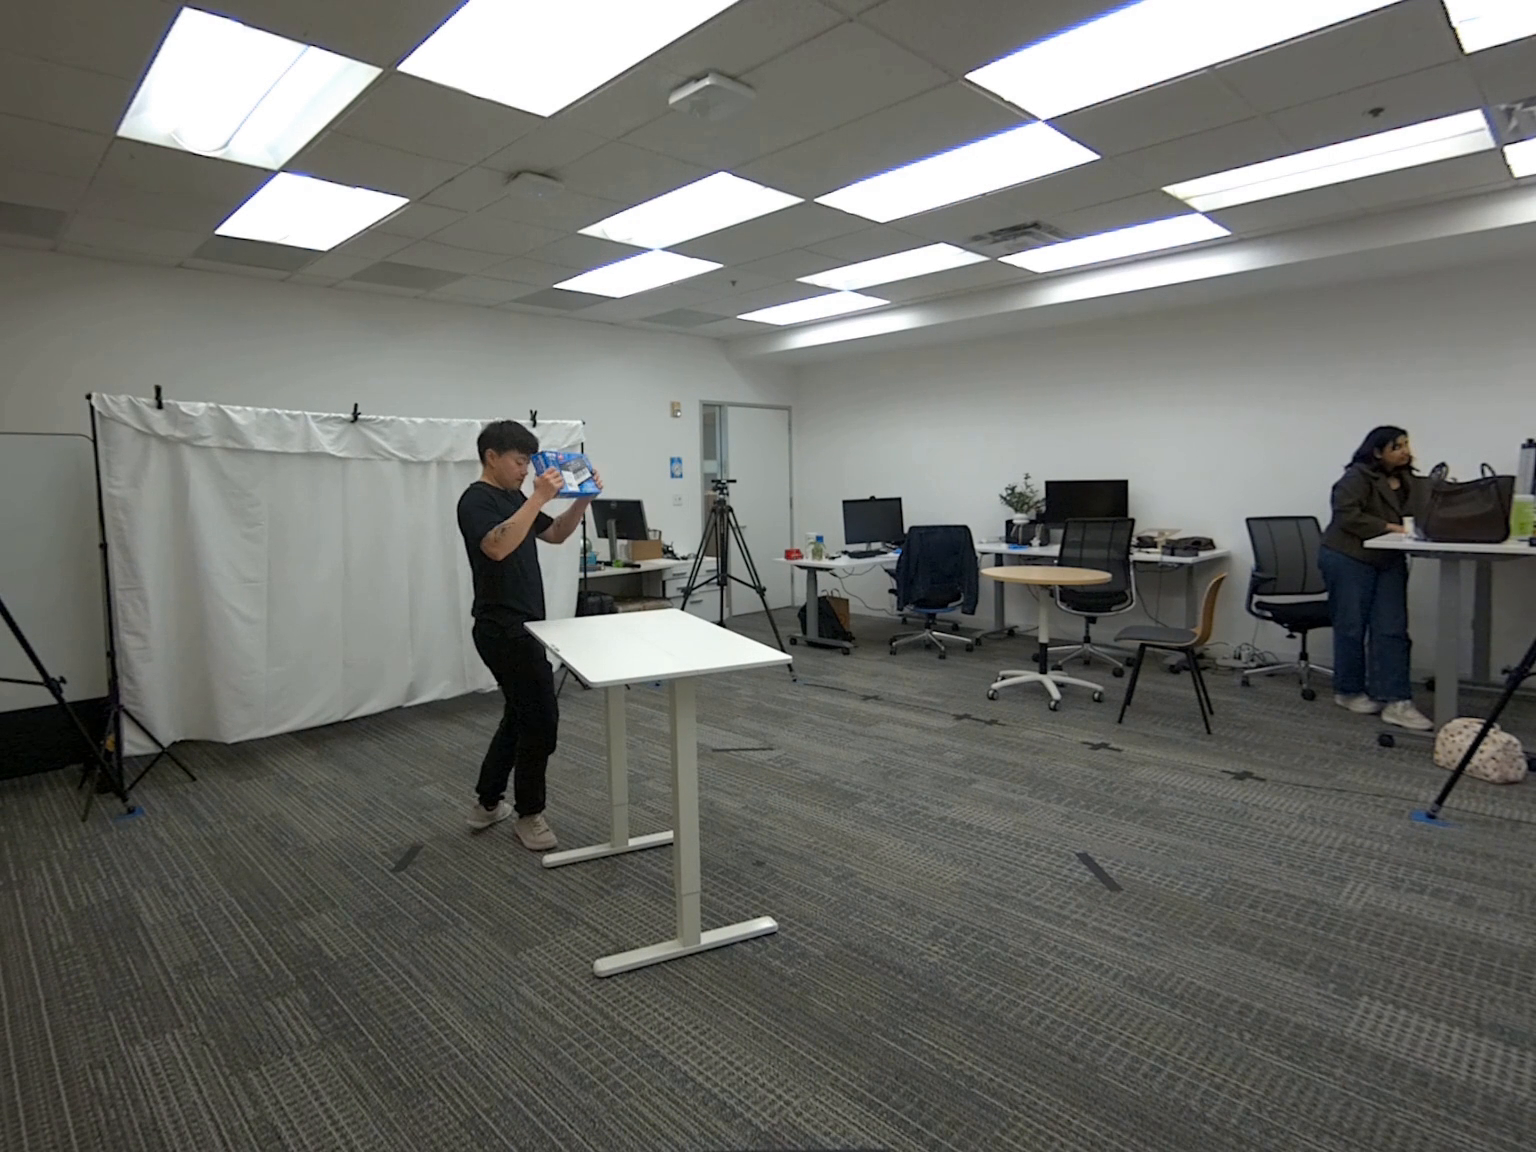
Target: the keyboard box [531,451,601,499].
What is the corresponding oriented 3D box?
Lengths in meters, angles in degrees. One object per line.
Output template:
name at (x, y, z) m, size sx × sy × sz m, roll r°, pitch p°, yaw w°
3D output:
keyboard box at (-0.778, -0.387, 3.318) m, size 0.059 × 0.176 × 0.435 m, roll -22°, pitch 3°, yaw 11°
